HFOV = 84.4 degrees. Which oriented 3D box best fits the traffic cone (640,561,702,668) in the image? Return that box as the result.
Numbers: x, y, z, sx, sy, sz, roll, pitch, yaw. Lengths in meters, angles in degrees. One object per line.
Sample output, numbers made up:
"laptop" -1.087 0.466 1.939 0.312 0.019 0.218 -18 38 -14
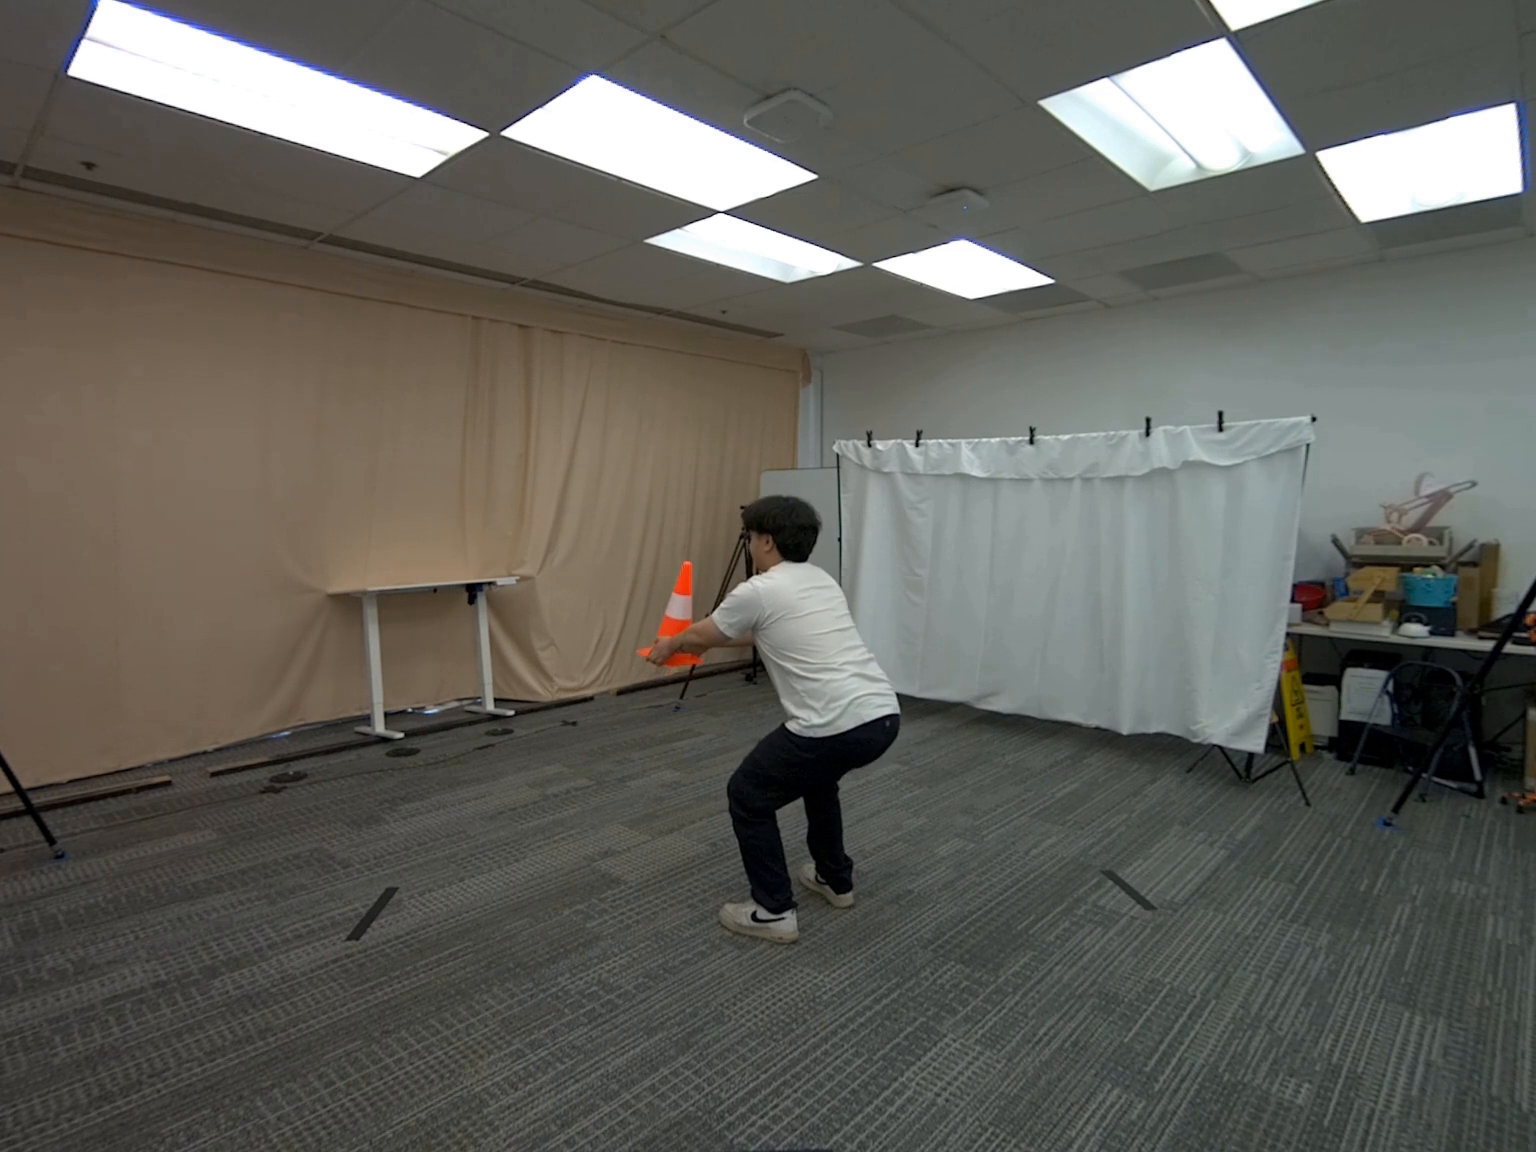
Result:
"traffic cone" -0.345 0.137 3.234 0.209 0.382 0.200 14 12 26
